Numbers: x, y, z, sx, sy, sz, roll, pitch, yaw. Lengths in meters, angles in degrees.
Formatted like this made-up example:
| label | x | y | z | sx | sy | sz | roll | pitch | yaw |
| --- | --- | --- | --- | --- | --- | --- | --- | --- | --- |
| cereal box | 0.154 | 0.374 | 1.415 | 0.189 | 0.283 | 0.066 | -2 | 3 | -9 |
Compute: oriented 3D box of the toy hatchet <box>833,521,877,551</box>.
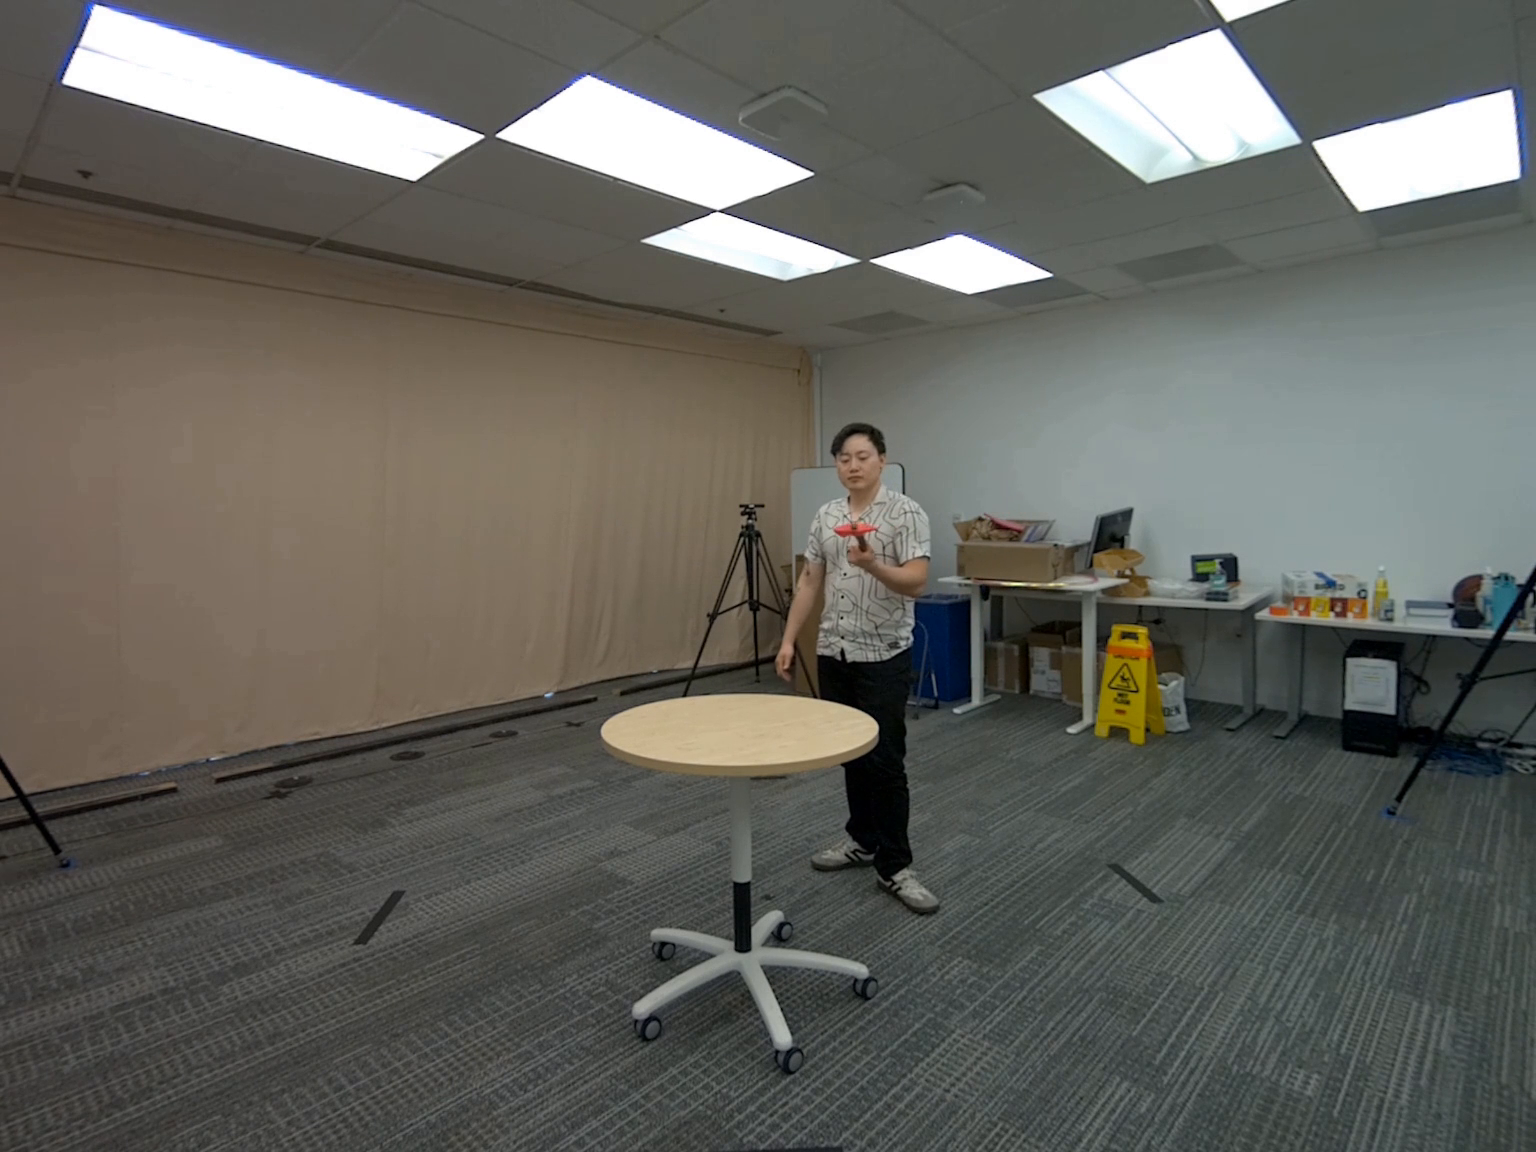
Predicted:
| label | x | y | z | sx | sy | sz | roll | pitch | yaw |
| --- | --- | --- | --- | --- | --- | --- | --- | --- | --- |
| toy hatchet | 0.257 | -0.118 | 2.686 | 0.131 | 0.030 | 0.267 | 3 | -16 | 2 |
